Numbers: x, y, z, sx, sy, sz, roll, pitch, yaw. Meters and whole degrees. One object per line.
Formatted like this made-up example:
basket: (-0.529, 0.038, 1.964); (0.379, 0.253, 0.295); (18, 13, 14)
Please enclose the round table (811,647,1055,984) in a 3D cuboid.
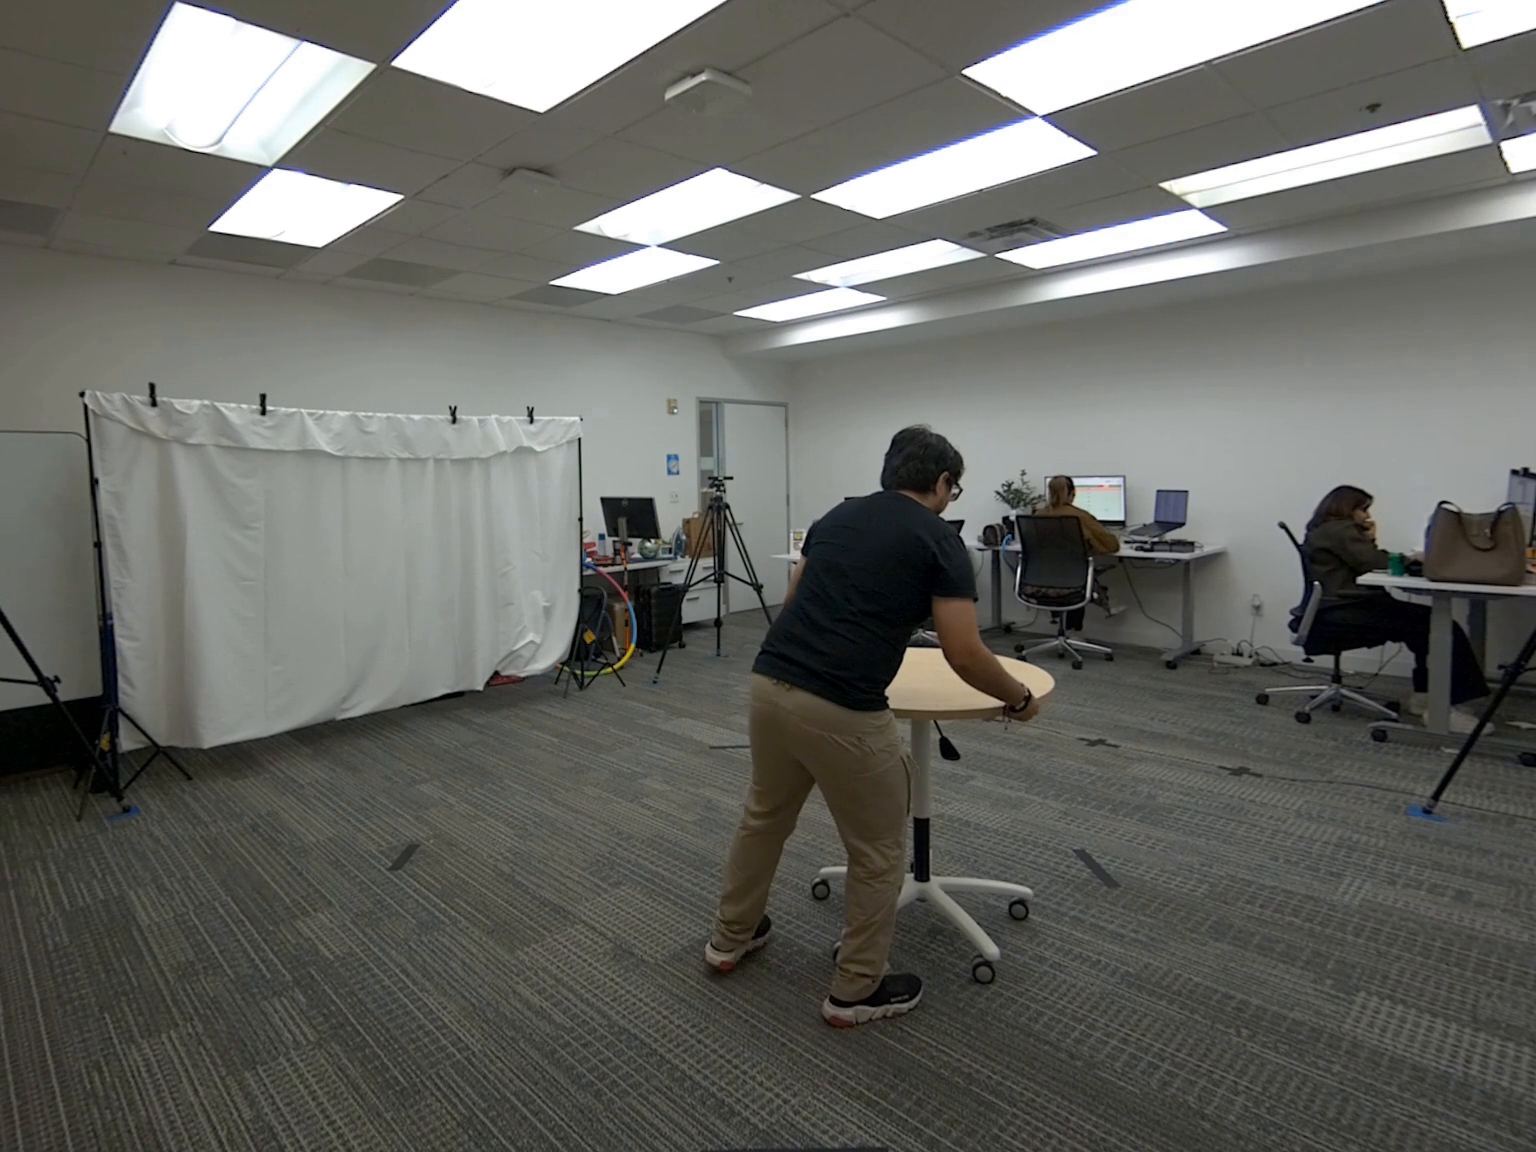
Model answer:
round table: (0.473, 0.686, 2.645); (0.784, 0.782, 0.790); (-2, 6, -2)
